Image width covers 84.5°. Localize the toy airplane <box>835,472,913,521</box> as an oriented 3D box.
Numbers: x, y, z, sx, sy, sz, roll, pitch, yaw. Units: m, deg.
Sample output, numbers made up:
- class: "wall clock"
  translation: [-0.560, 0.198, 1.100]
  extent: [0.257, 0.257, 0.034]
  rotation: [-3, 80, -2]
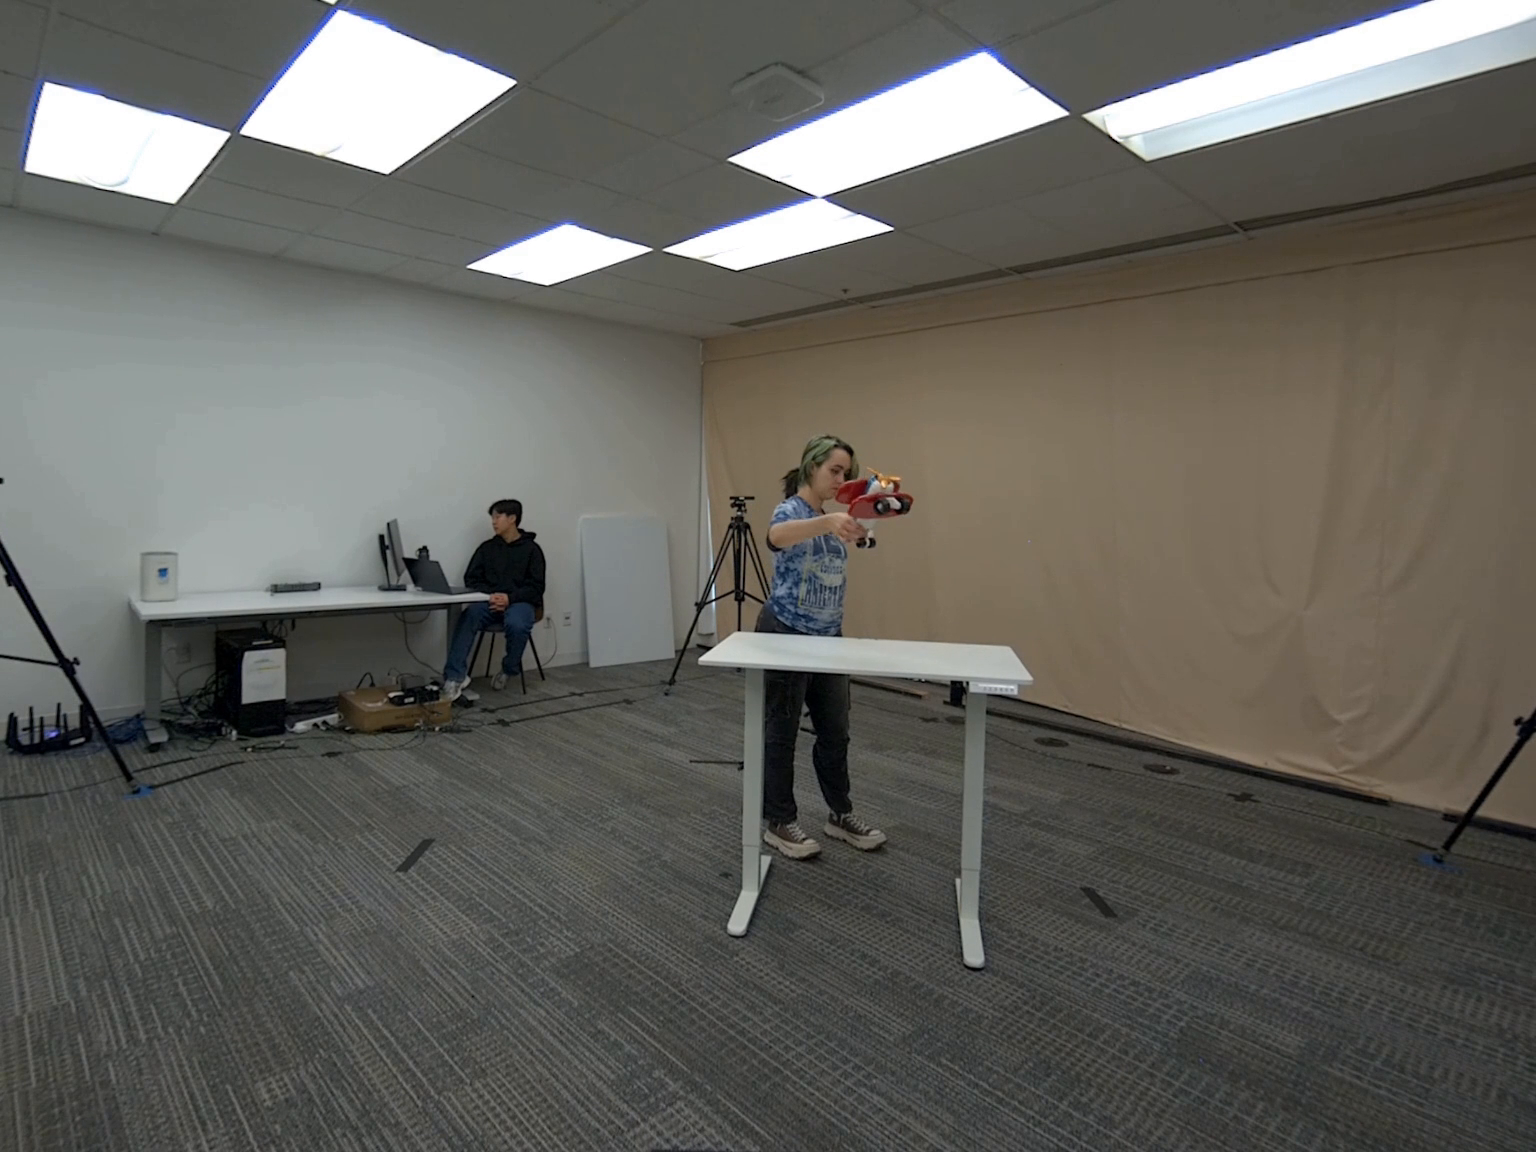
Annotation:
- class: "toy airplane"
  translation: [0.313, -0.208, 2.712]
  extent: [0.260, 0.160, 0.244]
  rotation: [-36, -29, 22]
